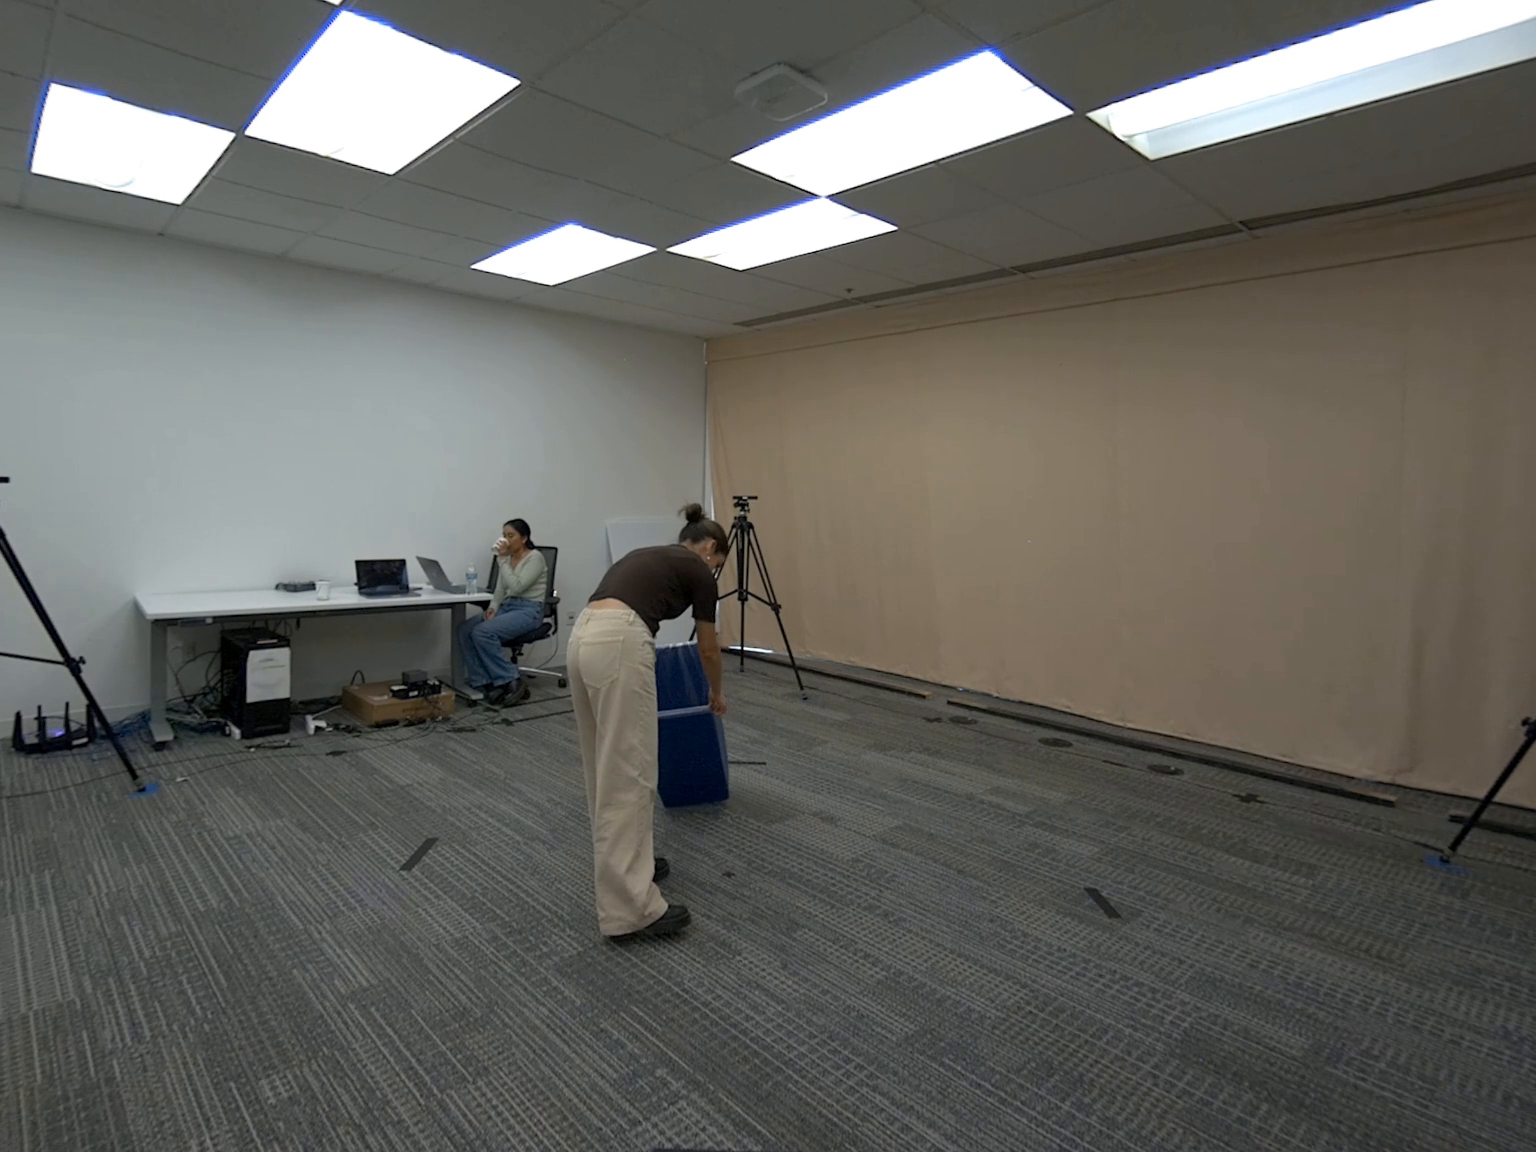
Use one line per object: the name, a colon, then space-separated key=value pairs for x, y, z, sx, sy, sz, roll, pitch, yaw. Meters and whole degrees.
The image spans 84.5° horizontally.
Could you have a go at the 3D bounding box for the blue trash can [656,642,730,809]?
blue trash can: x=-0.363 y=0.674 z=3.639 sx=0.378 sy=0.695 sz=0.383 roll=-8 pitch=42 yaw=1
